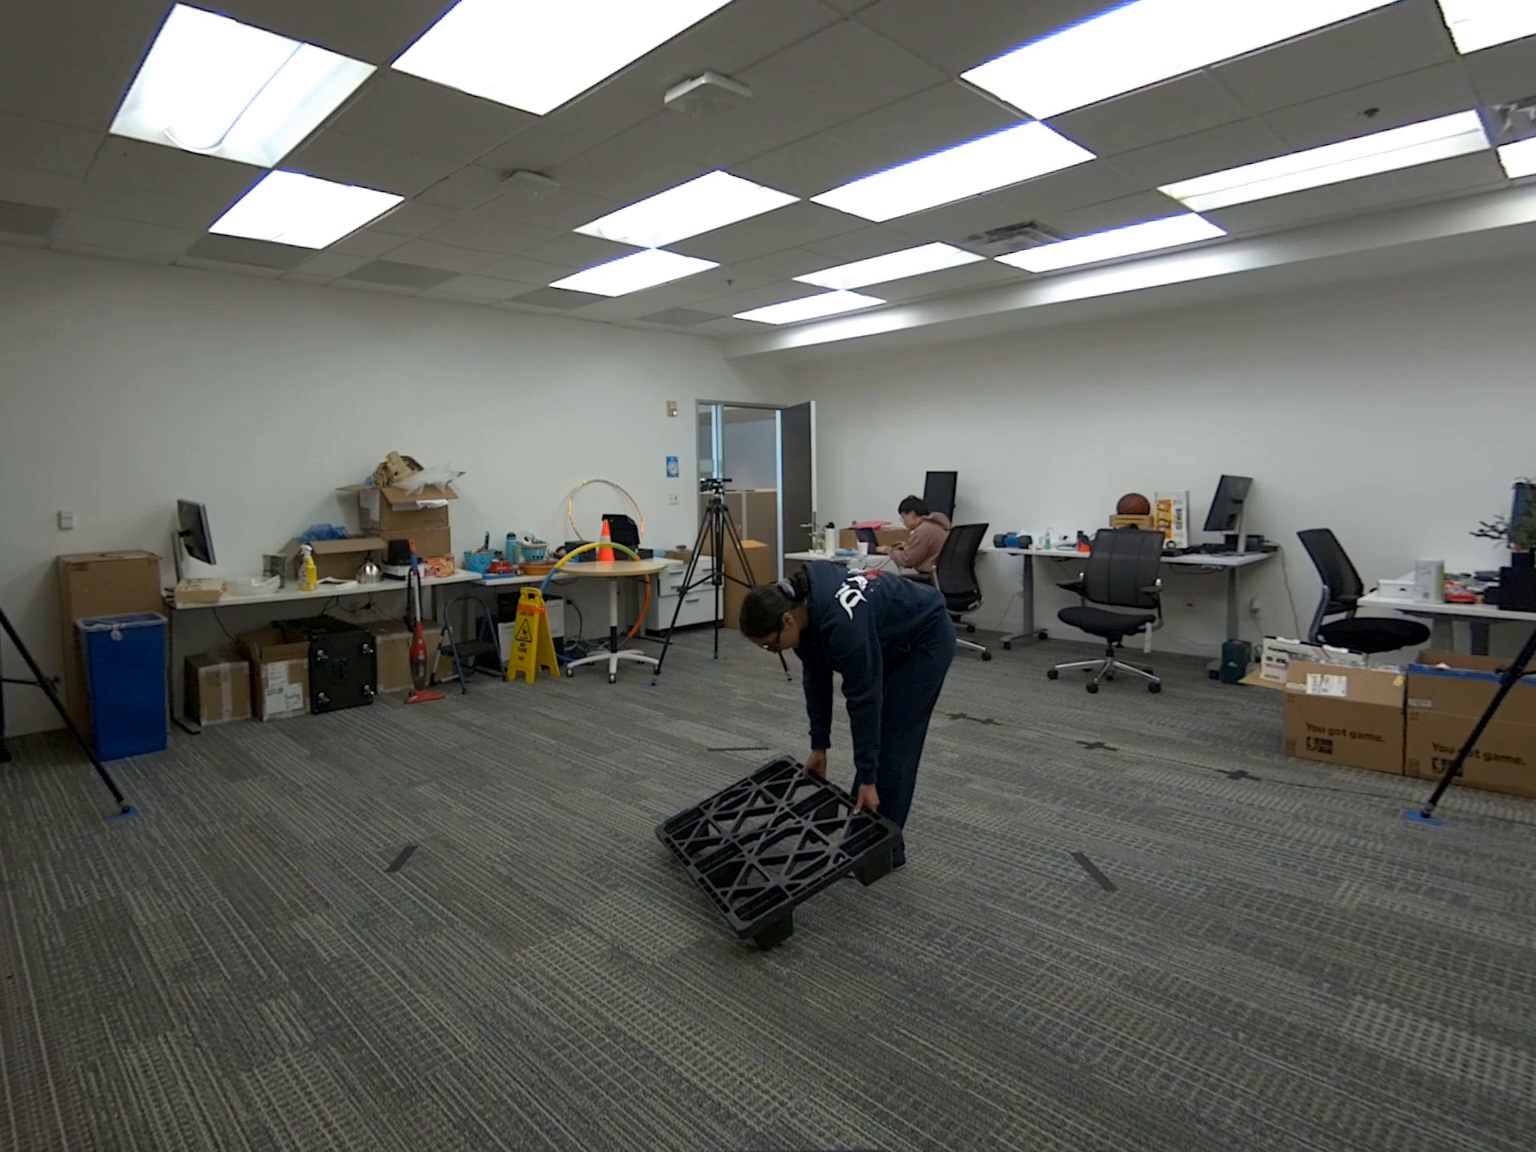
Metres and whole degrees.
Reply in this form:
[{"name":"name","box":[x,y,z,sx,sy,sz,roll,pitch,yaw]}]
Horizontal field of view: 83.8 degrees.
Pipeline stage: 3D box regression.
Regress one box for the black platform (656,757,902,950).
[{"name":"black platform","box":[0.015,0.922,2.931,0.599,0.141,0.826,-26,16,-20]}]
